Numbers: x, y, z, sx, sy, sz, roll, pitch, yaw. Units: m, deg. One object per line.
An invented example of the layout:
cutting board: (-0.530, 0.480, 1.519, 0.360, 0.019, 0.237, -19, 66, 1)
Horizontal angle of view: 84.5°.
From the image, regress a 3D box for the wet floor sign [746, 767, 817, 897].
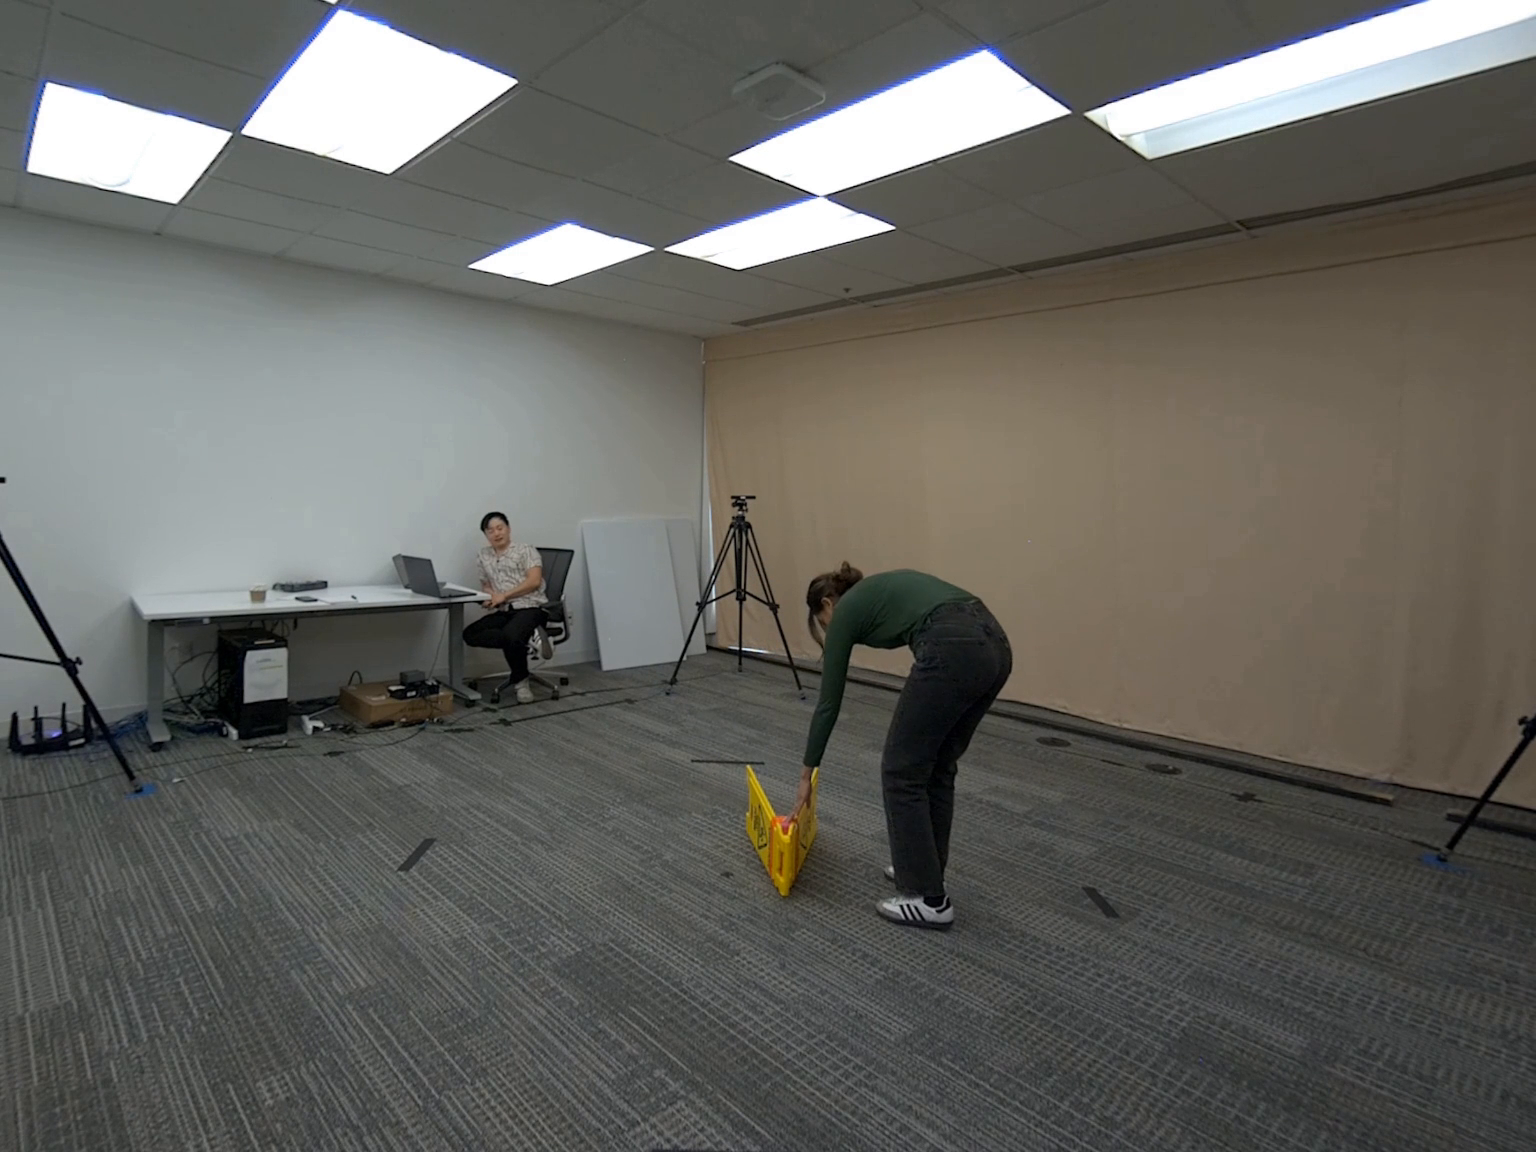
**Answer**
wet floor sign: (0.052, 0.964, 3.197, 0.290, 0.281, 0.648, 1, 7, 0)
